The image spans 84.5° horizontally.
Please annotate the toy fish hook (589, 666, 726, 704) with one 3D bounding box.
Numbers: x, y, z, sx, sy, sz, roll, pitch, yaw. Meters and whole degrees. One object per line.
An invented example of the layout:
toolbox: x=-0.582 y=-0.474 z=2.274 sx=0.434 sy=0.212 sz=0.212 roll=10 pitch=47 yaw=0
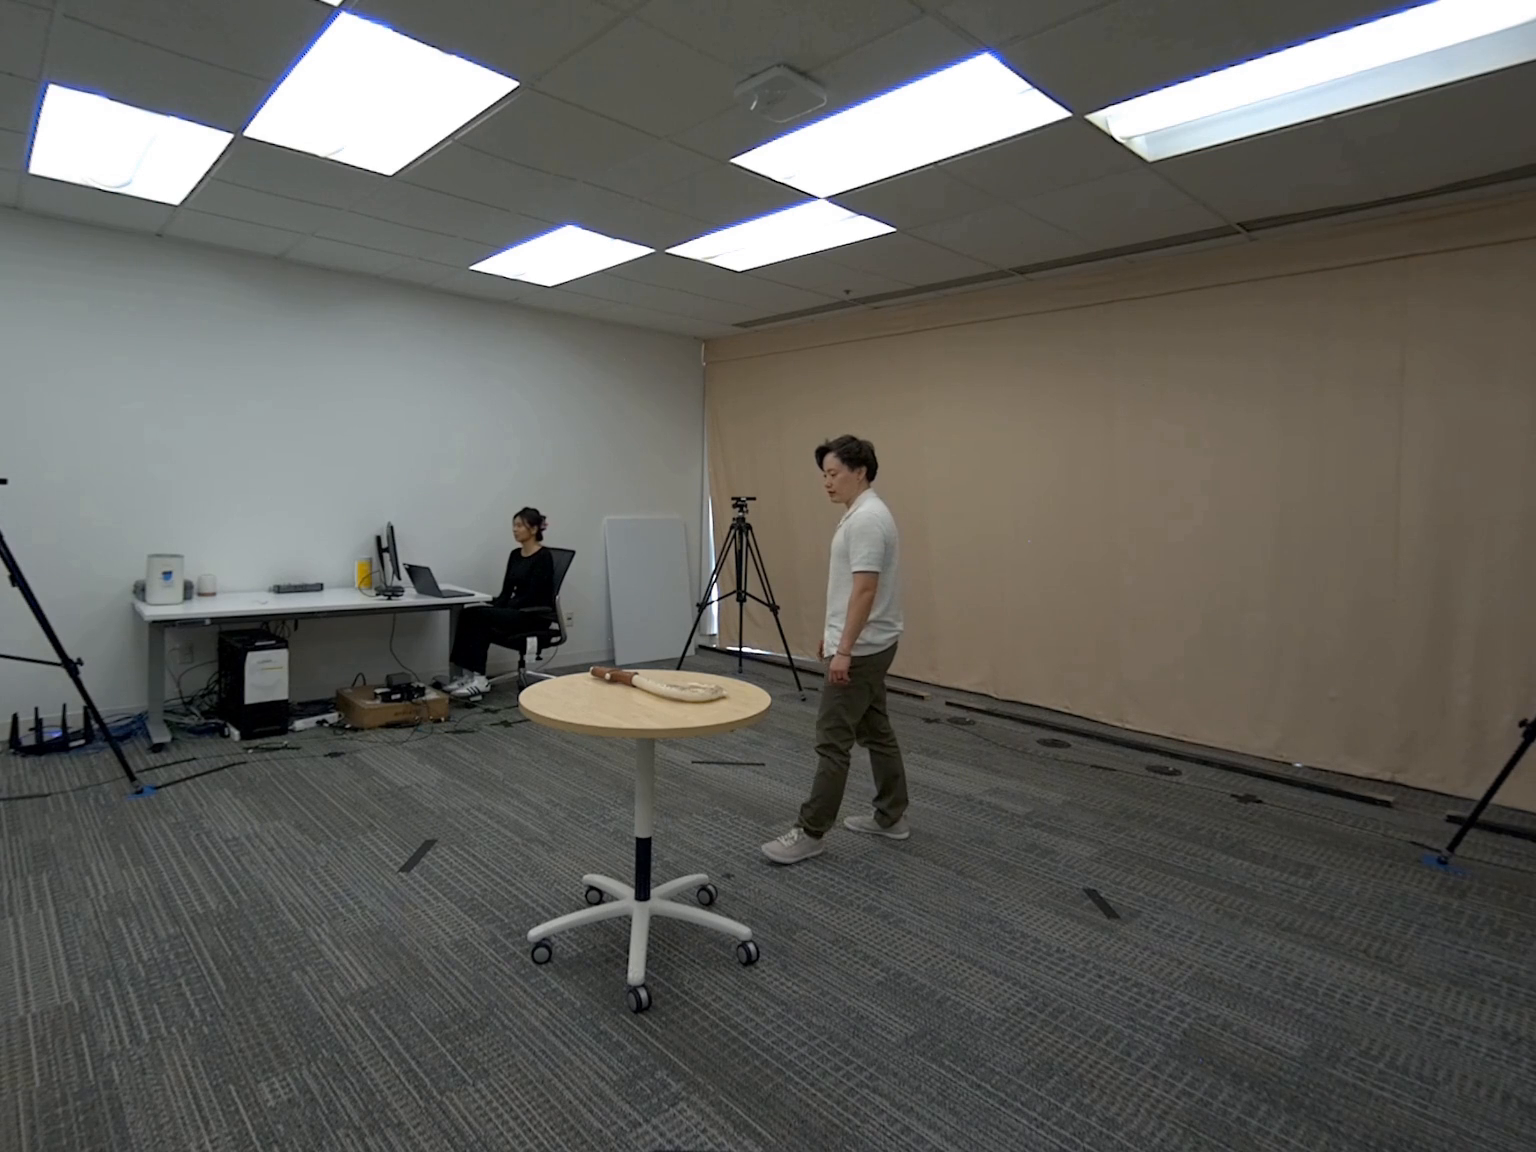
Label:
toy fish hook: x=-0.364 y=0.347 z=2.688 sx=0.519 sy=0.048 sz=0.219 roll=7 pitch=-1 yaw=37
